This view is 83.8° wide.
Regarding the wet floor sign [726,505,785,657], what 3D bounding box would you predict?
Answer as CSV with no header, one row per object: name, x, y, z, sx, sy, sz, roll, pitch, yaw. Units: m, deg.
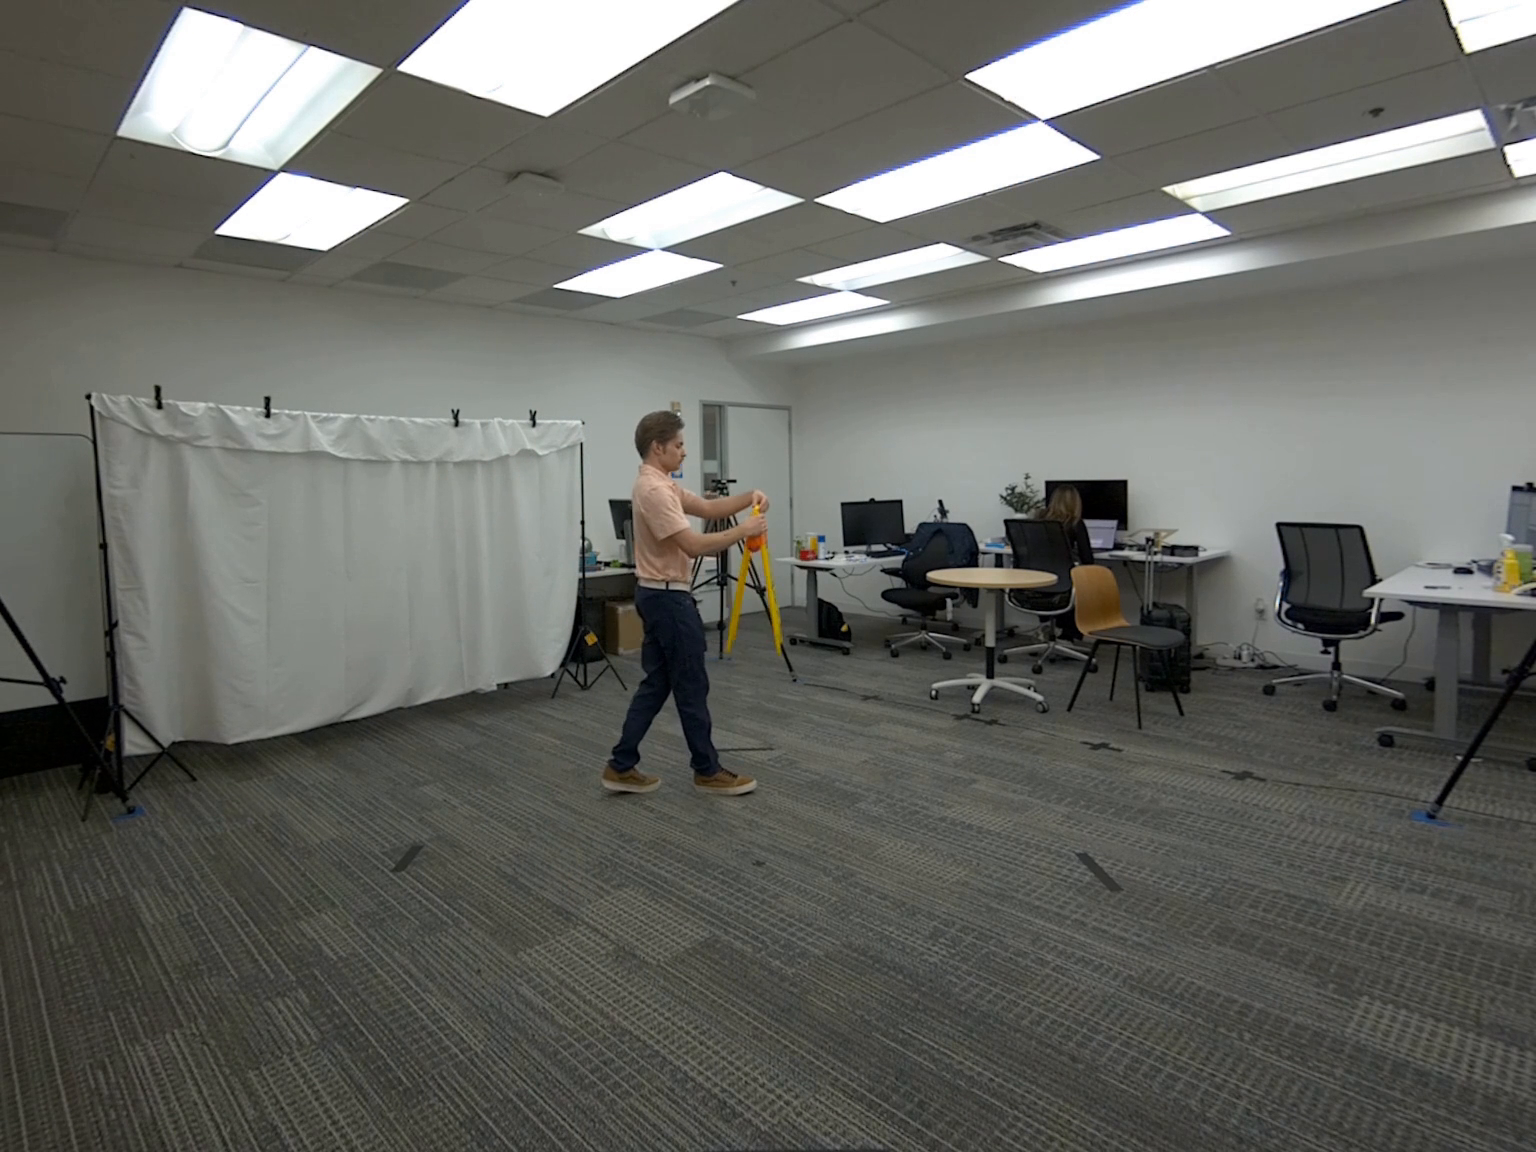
wet floor sign,-0.054,0.011,3.876,0.291,0.640,0.283,2,10,5
